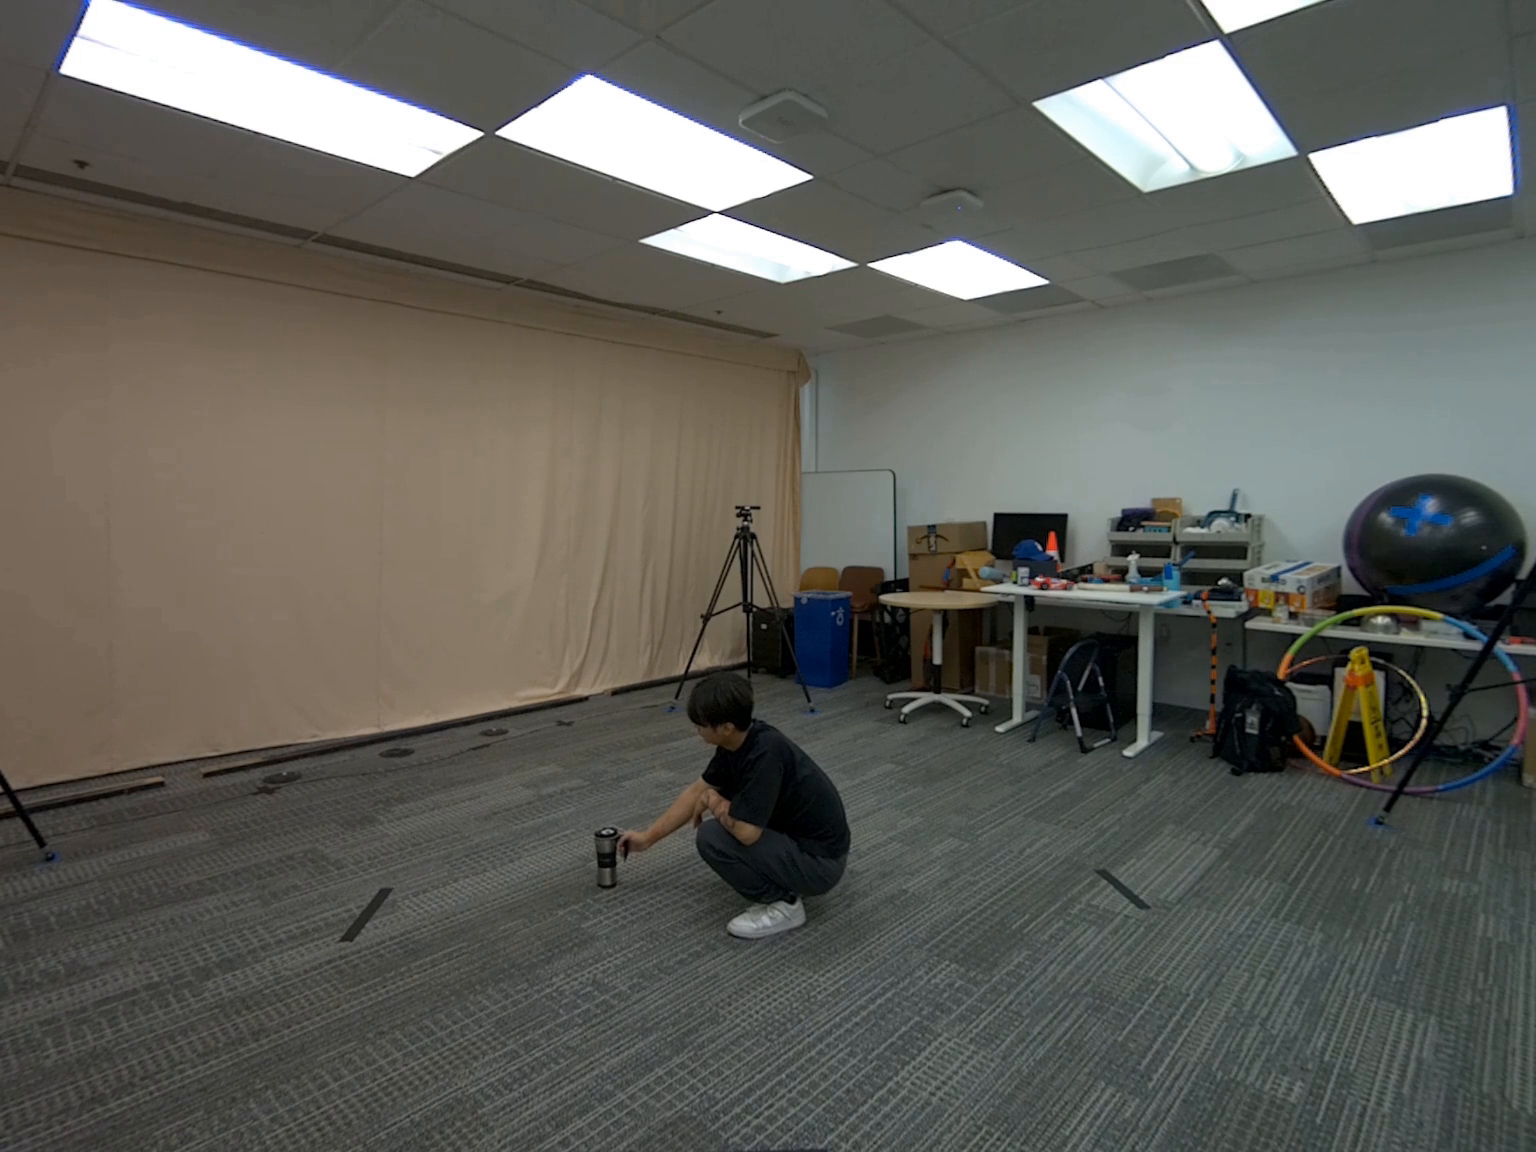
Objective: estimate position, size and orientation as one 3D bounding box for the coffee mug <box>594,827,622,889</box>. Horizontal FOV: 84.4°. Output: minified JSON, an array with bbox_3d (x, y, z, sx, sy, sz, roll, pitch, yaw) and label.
[{"bbox_3d":[-0.582,1.044,3.088,0.126,0.203,0.085,-4,-2,43],"label":"coffee mug"}]
